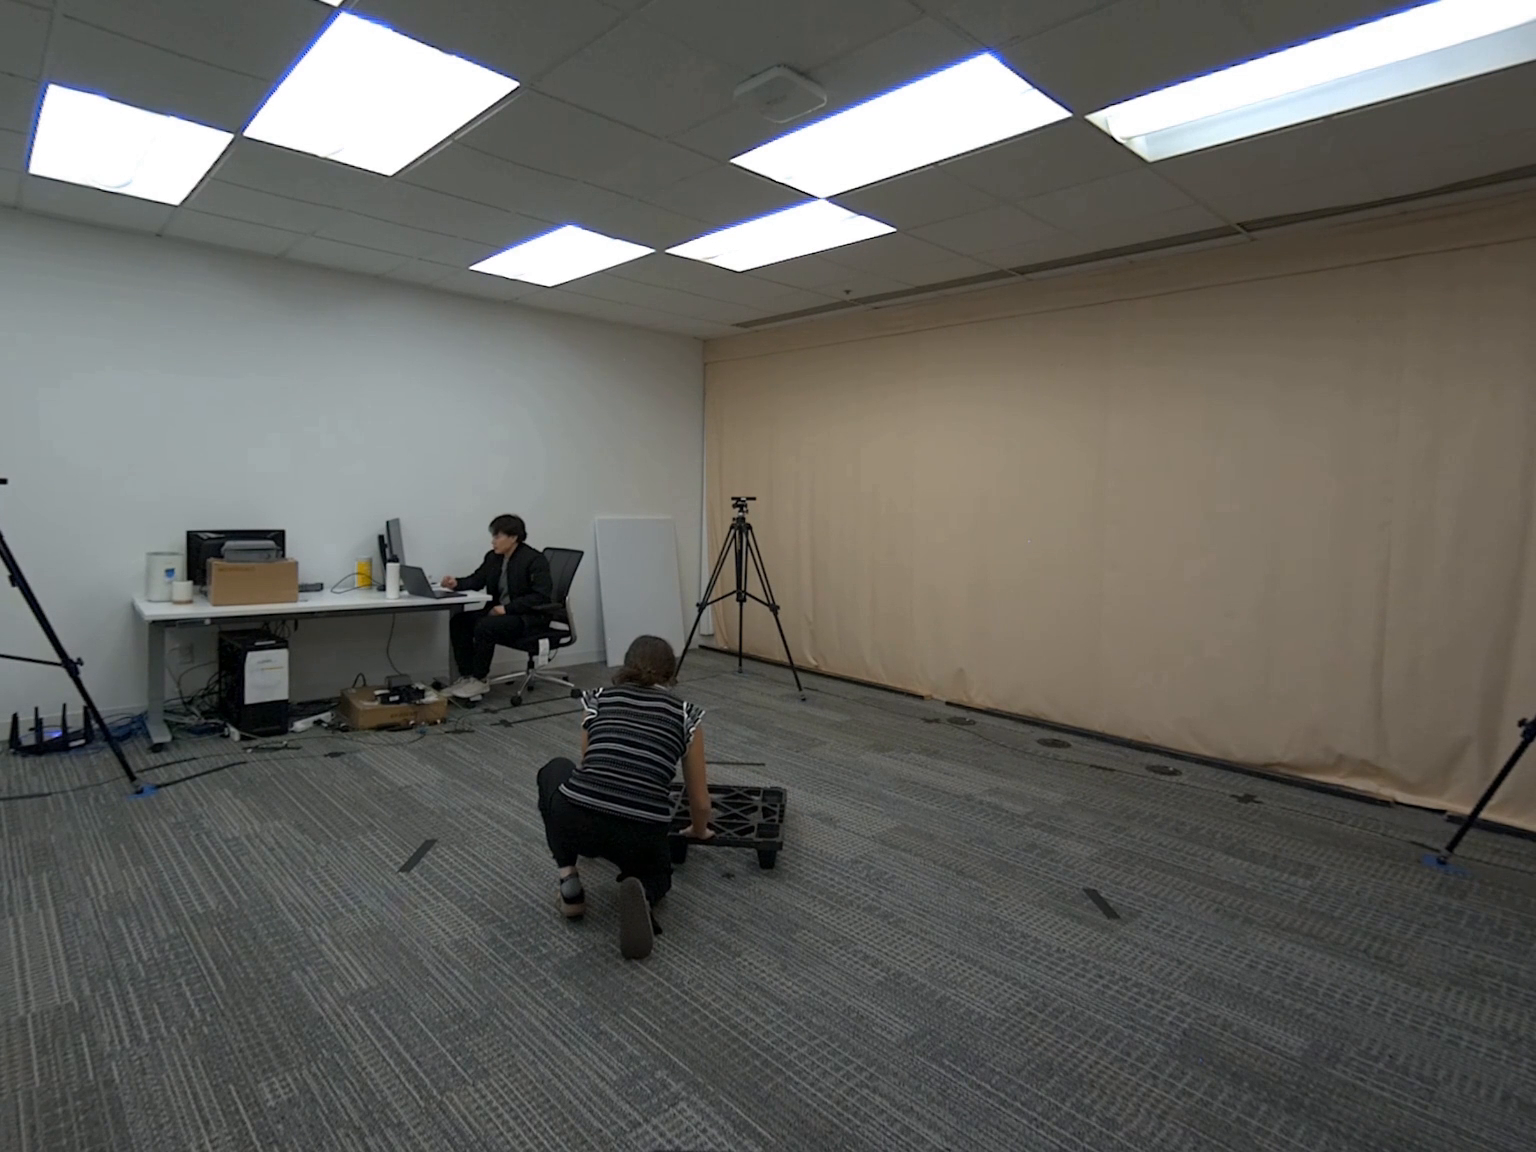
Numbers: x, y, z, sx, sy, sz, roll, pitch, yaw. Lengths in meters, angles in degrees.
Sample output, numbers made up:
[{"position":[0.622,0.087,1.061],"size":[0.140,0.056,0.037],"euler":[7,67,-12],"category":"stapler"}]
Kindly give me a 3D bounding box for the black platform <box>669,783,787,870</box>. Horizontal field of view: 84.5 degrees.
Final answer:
[{"position":[-0.333,1.006,3.425],"size":[0.809,0.143,0.604],"euler":[1,5,5],"category":"black platform"}]
